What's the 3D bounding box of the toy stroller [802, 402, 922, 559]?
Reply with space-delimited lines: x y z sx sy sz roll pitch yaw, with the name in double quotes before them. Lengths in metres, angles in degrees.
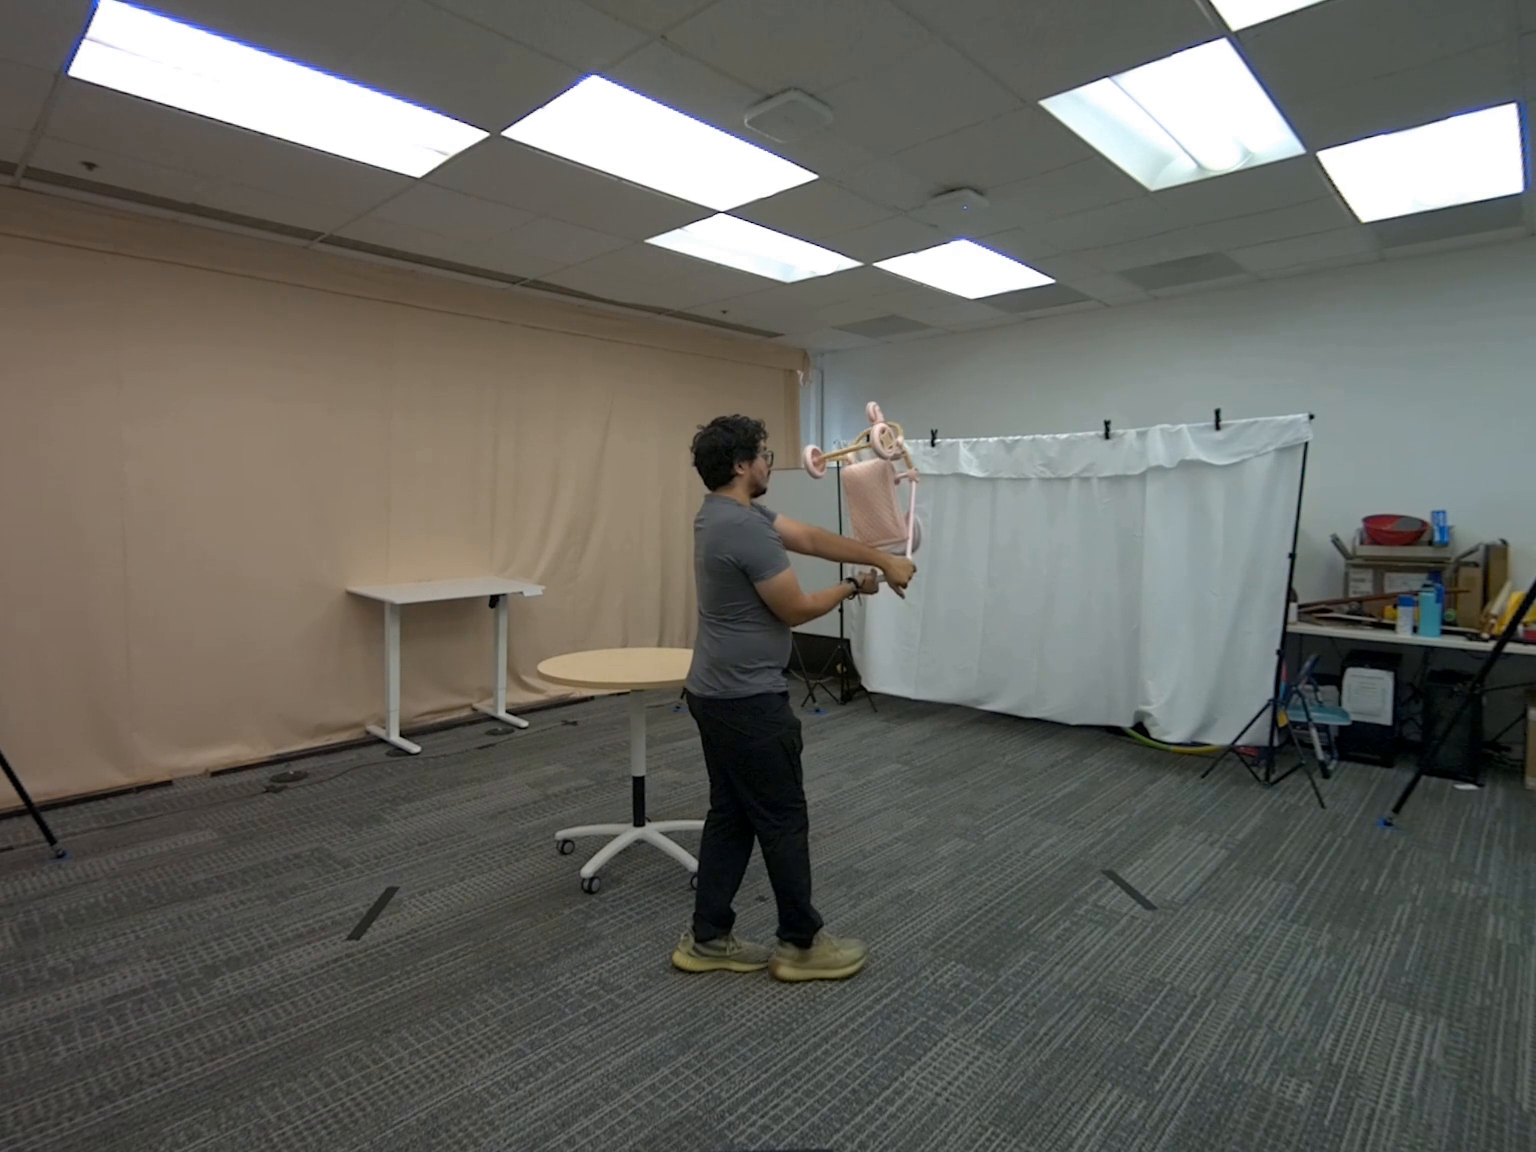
"toy stroller" 0.351 -0.270 2.665 0.288 0.532 0.335 -16 7 34
